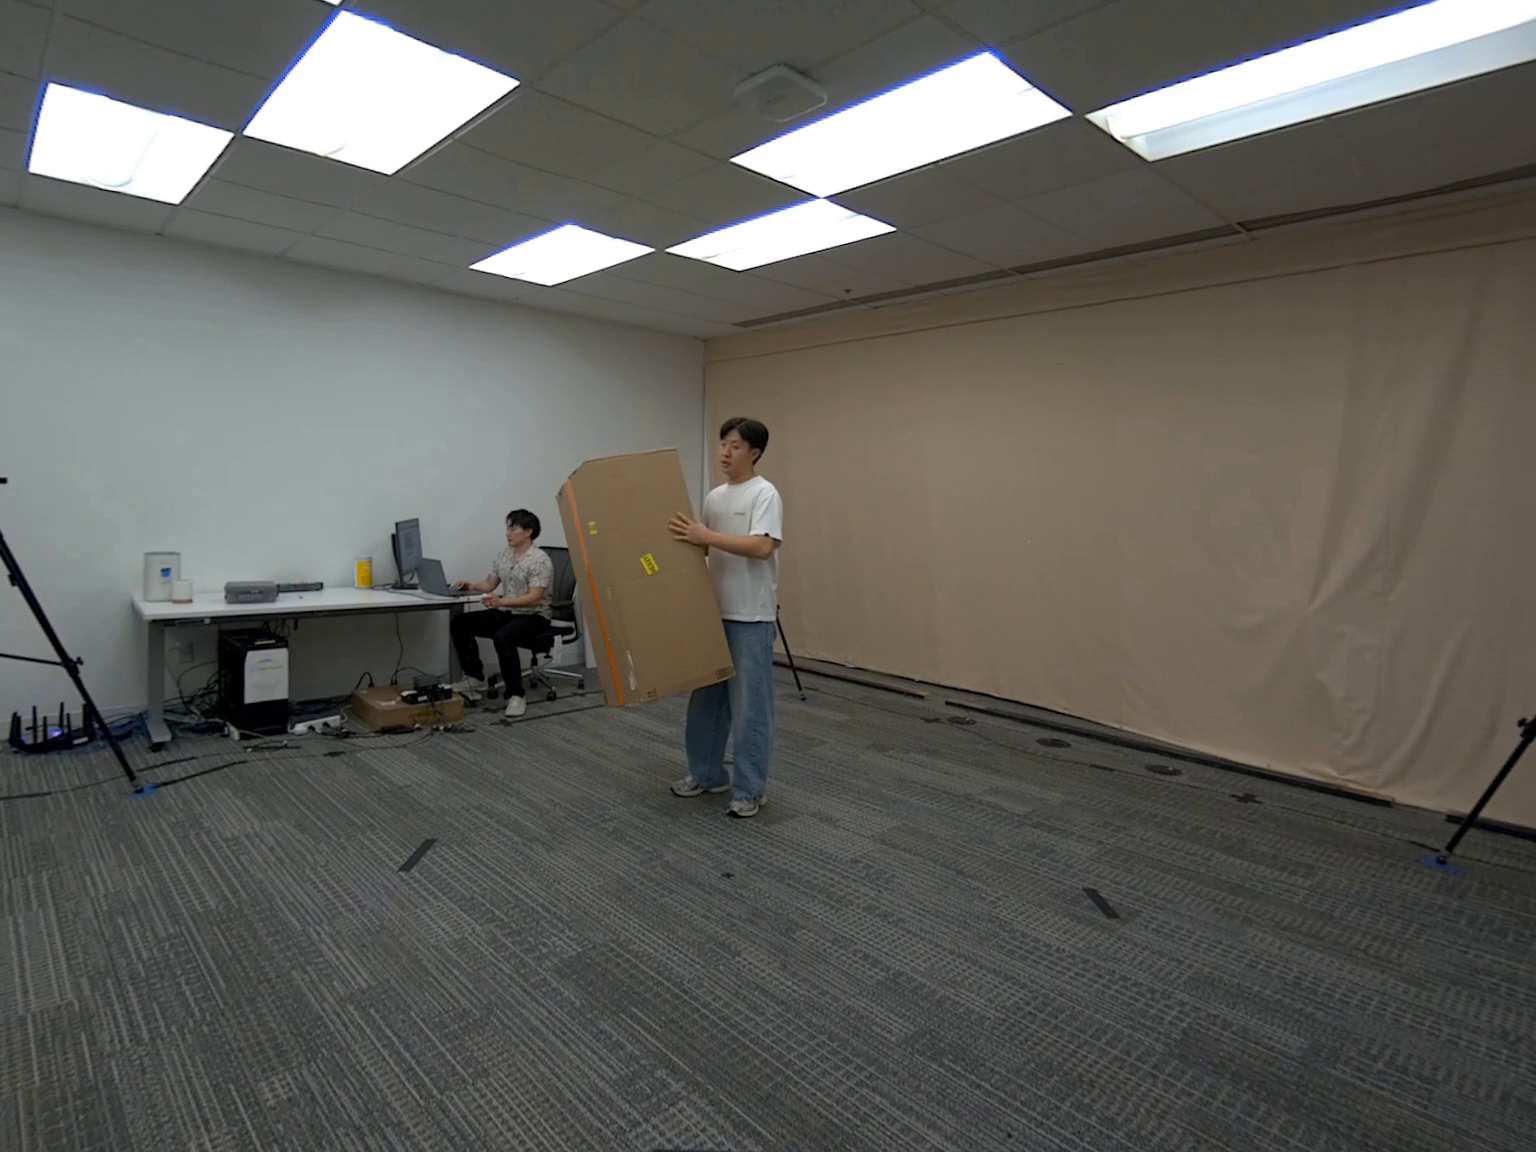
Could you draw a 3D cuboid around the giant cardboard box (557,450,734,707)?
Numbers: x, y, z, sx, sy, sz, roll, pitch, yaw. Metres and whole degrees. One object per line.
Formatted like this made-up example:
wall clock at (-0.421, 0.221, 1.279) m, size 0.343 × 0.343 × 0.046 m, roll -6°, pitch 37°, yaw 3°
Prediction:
giant cardboard box at (-0.574, 0.022, 3.741) m, size 0.420 × 1.031 × 0.583 m, roll -12°, pitch -6°, yaw -27°
